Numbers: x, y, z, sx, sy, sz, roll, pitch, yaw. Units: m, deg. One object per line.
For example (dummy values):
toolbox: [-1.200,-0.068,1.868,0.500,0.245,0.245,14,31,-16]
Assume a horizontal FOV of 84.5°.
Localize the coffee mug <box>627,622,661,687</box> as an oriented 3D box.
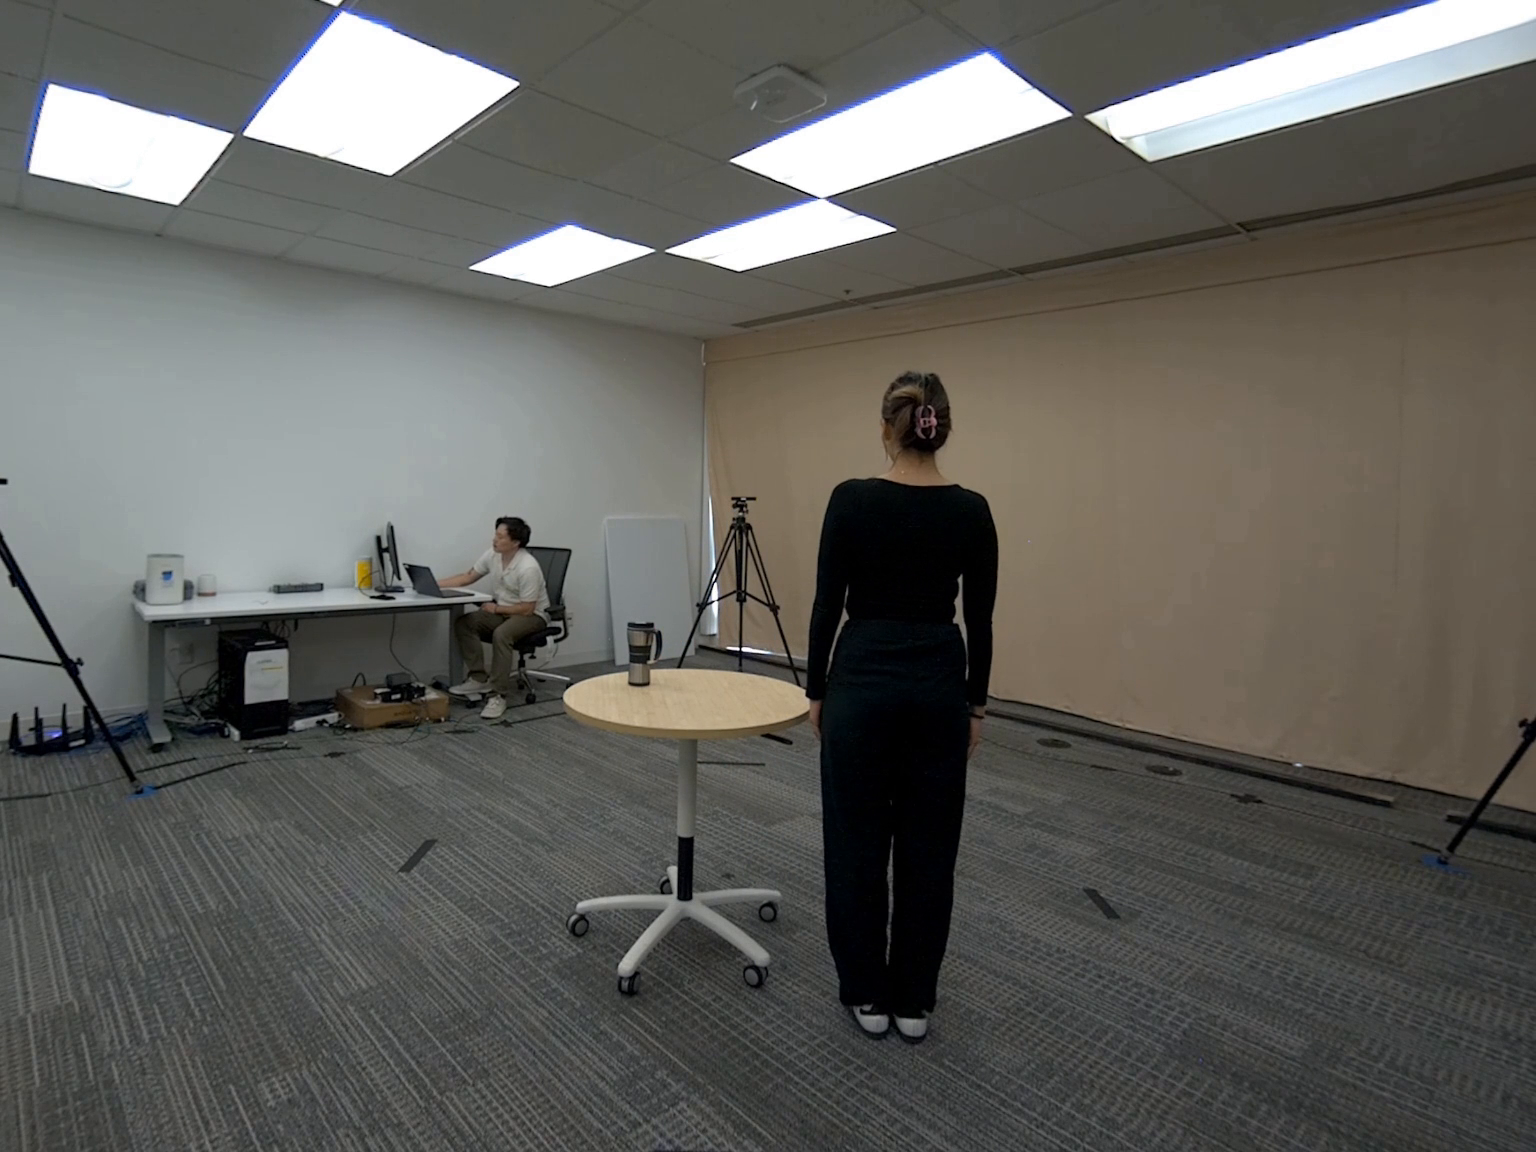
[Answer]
coffee mug: [-0.404,0.250,2.694,0.086,0.203,0.124,2,0,-30]
